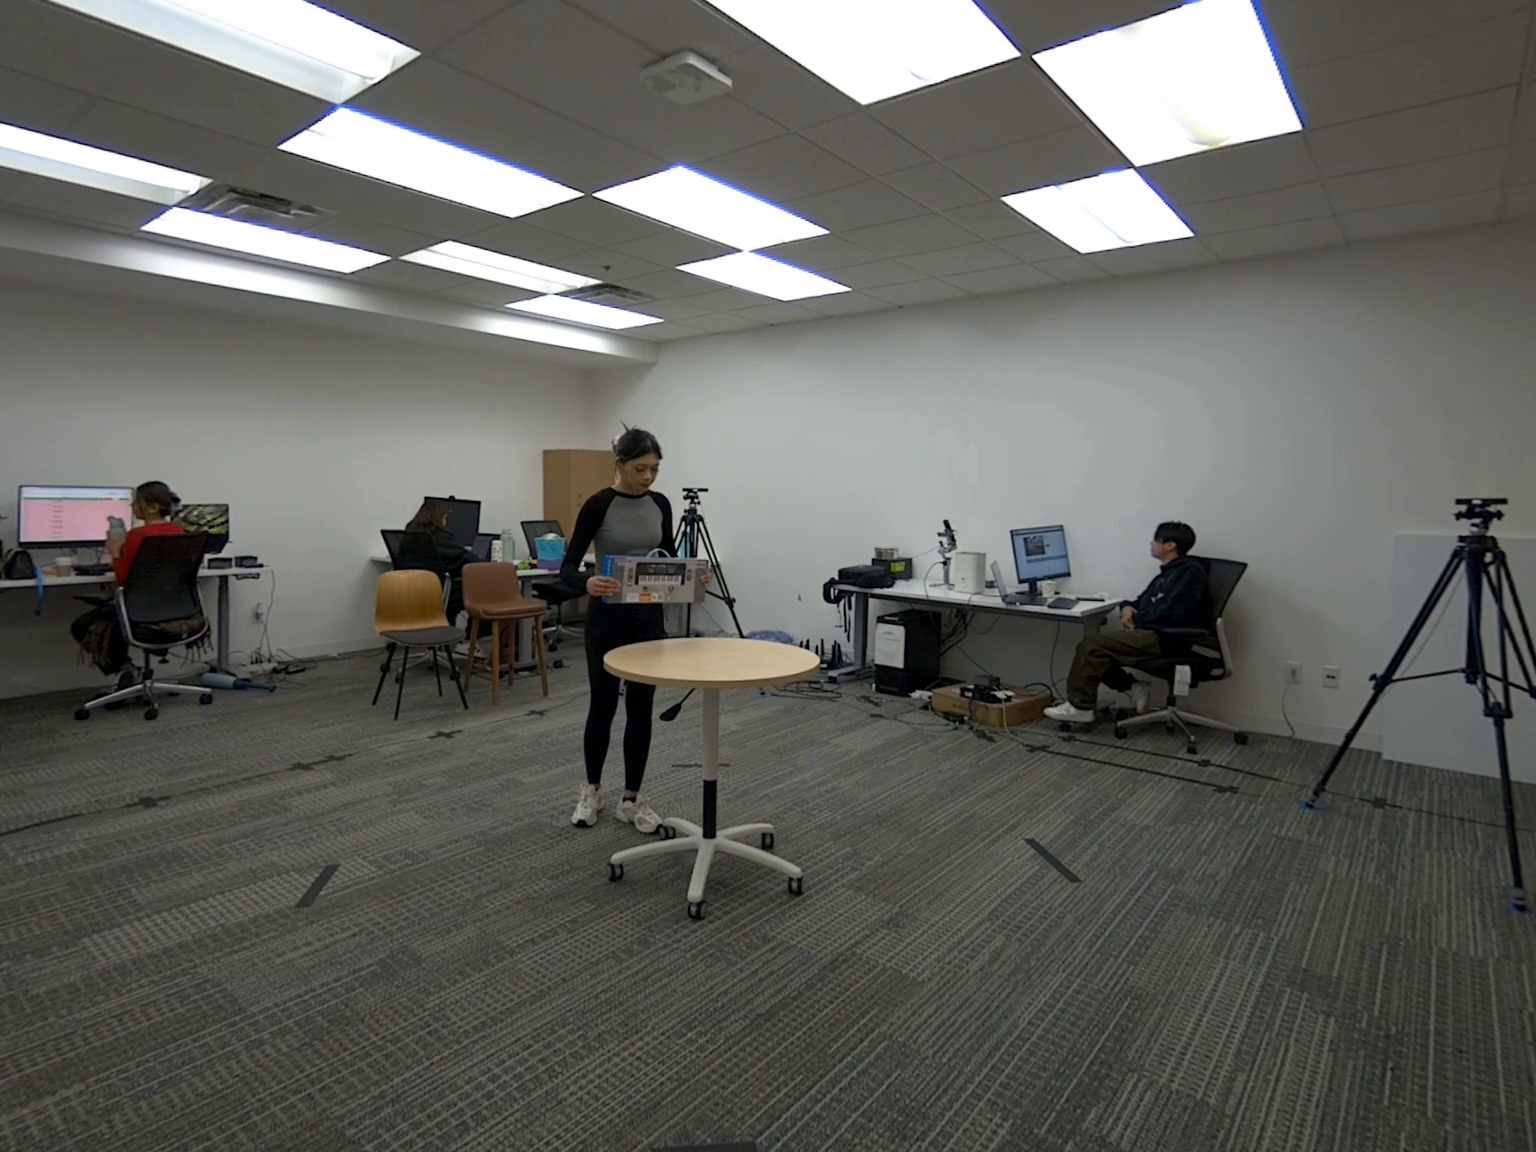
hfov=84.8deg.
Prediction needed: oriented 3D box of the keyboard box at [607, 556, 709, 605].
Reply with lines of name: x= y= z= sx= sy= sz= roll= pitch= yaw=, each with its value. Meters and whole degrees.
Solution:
keyboard box: x=-0.446 y=0.017 z=3.261 sx=0.423 sy=0.175 sz=0.061 roll=1 pitch=5 yaw=-36
